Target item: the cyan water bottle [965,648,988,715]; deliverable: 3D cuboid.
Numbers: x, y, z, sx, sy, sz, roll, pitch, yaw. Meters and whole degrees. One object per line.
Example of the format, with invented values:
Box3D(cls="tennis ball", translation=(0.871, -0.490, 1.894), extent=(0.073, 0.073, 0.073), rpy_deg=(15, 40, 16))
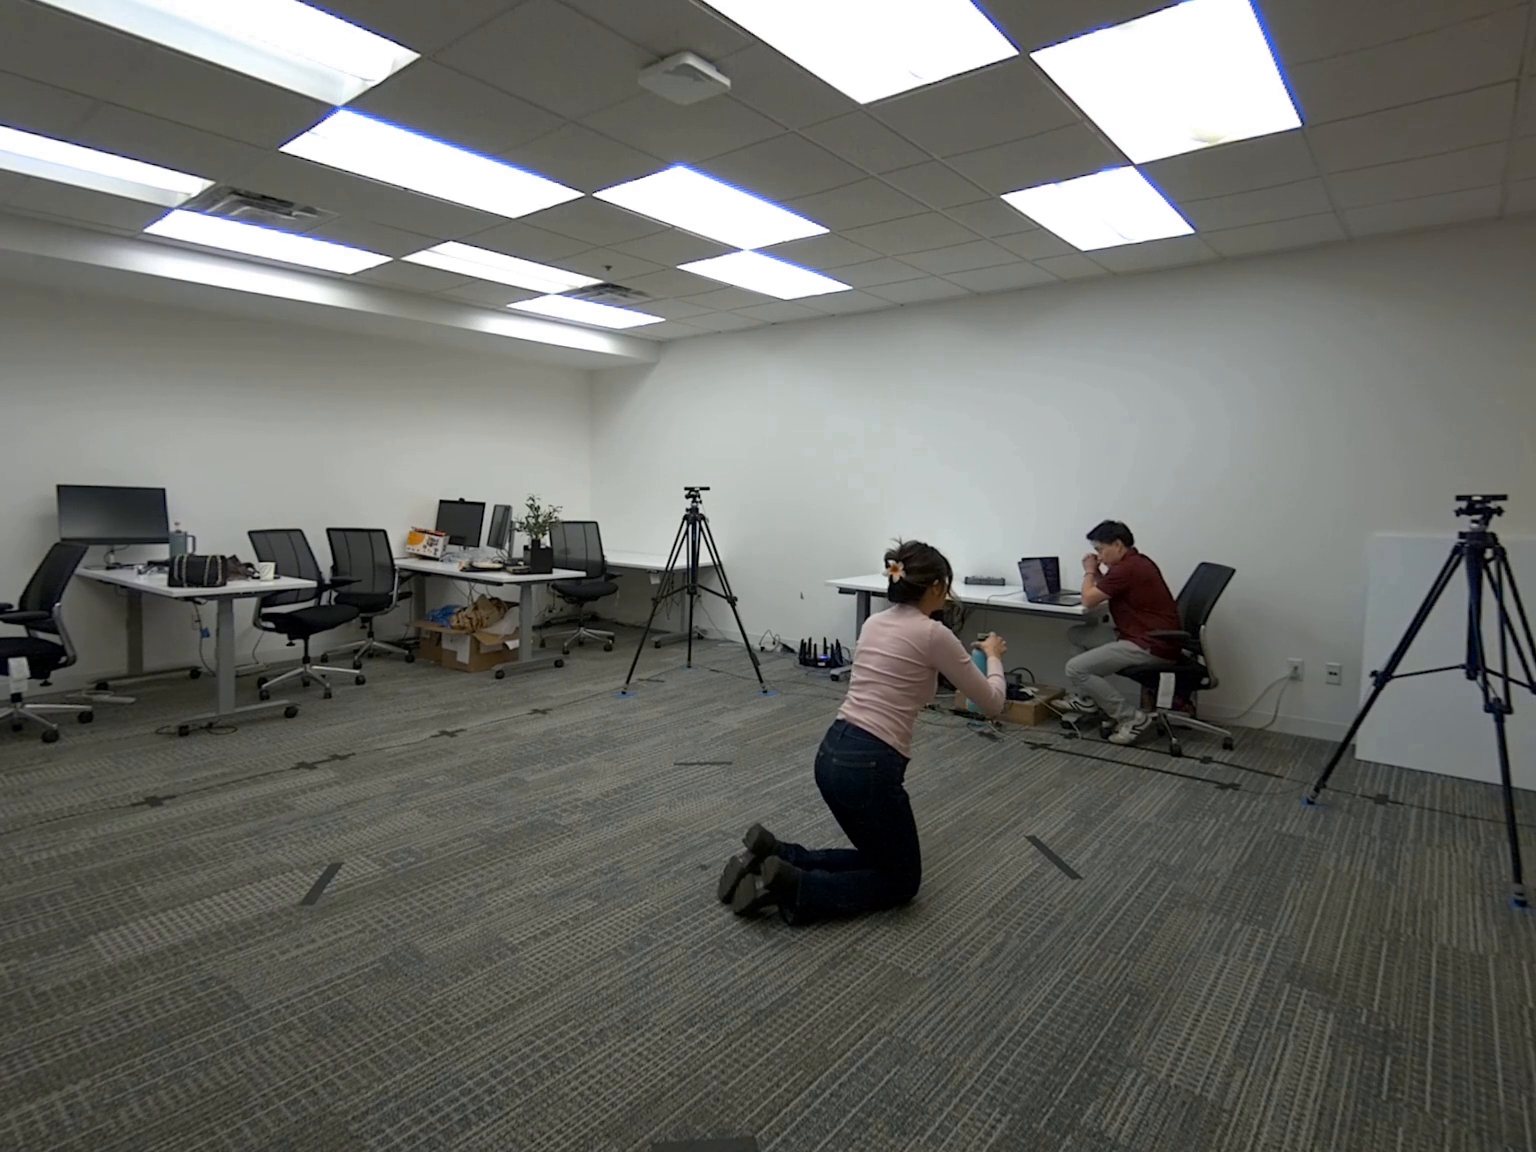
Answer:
Box3D(cls="cyan water bottle", translation=(0.784, 0.363, 3.138), extent=(0.092, 0.282, 0.093), rpy_deg=(5, 4, -2))
